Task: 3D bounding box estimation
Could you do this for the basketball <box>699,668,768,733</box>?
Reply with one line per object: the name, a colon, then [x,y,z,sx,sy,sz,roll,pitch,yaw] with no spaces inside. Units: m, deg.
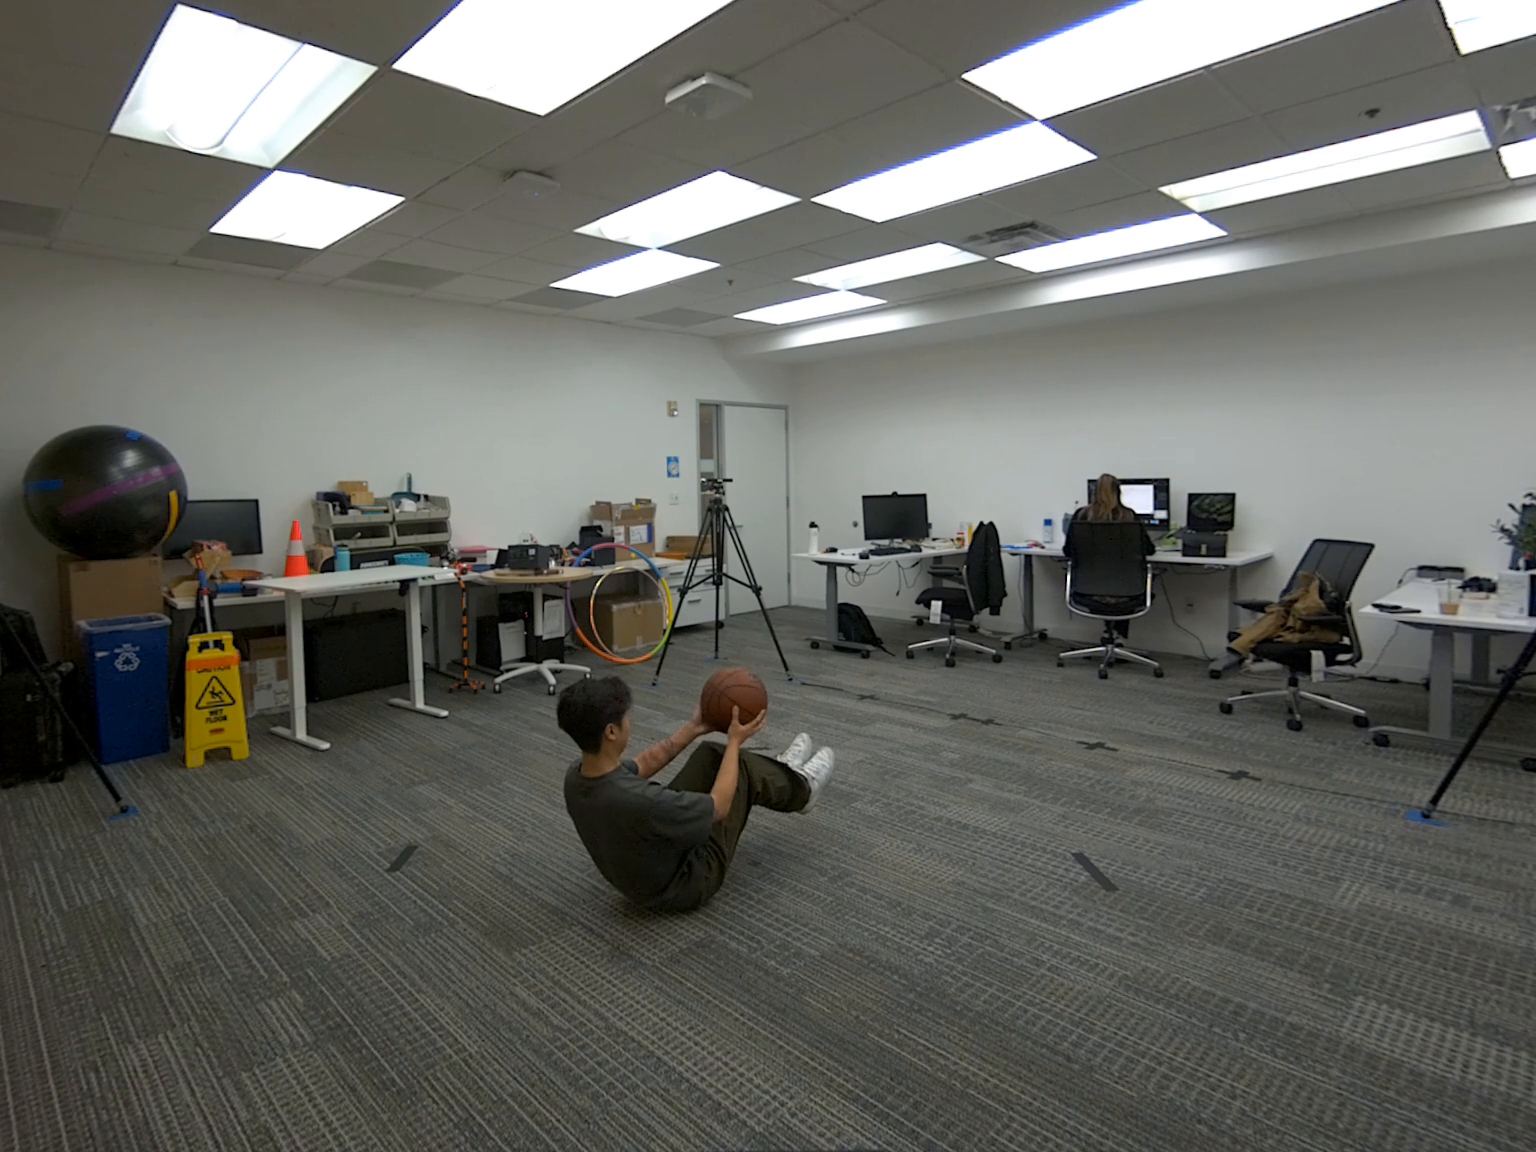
basketball: [-0.118,0.444,3.044,0.236,0.235,0.237,-1,5,-2]
